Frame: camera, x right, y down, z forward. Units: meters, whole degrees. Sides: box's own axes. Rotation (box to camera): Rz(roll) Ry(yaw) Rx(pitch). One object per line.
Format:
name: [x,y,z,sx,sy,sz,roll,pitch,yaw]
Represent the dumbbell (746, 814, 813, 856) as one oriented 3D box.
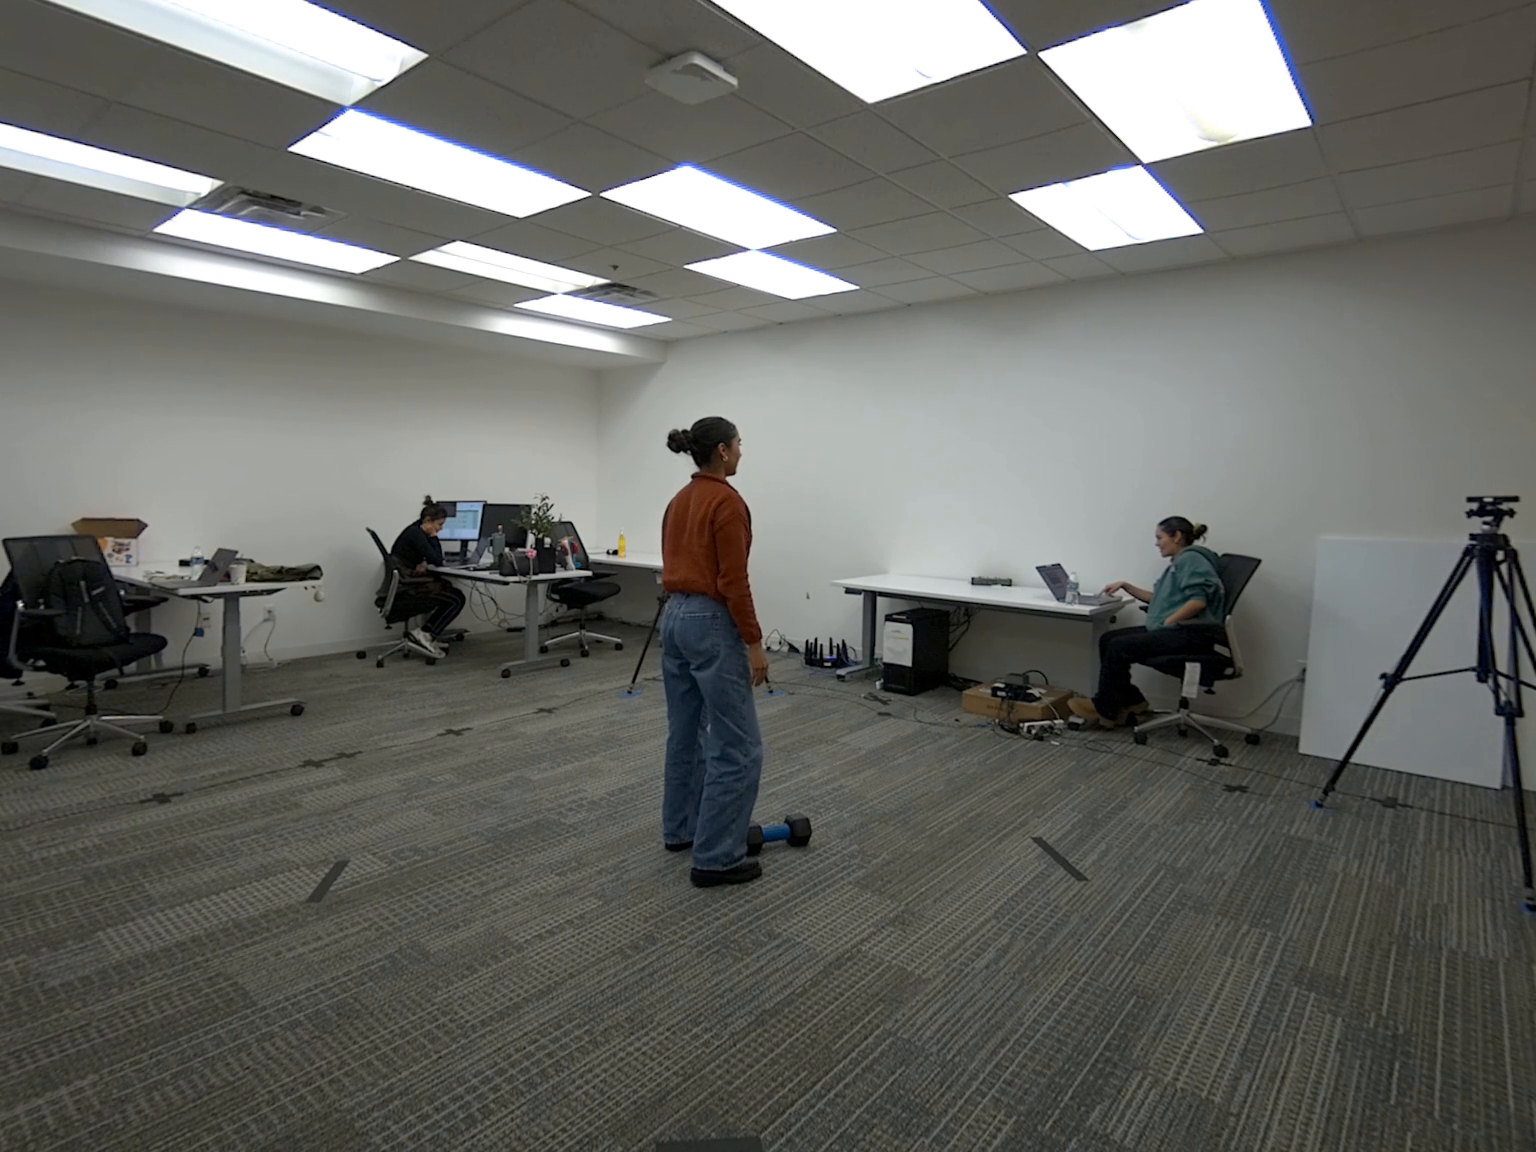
dumbbell: [0.016,1.000,3.298,0.287,0.121,0.113,-2,35,-24]
